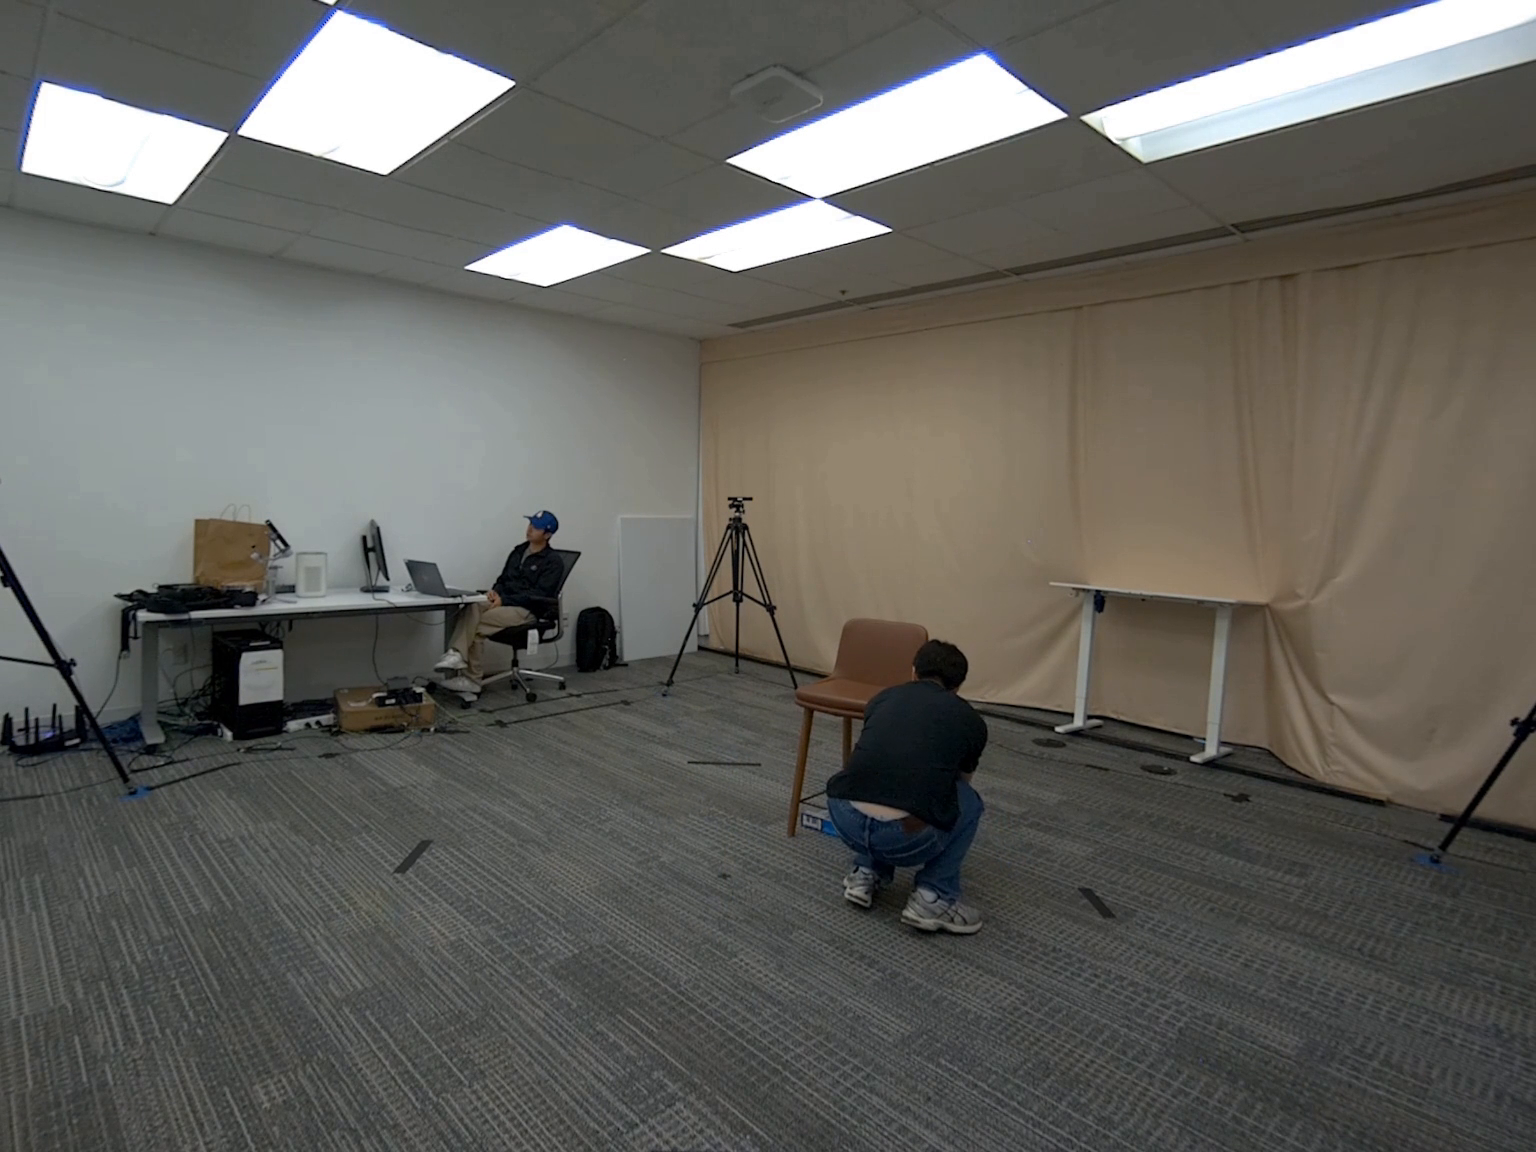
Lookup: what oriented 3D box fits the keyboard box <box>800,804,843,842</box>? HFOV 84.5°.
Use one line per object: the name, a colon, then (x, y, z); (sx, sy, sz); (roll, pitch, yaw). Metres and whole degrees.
keyboard box: (0.367, 1.057, 3.538); (0.448, 0.059, 0.172); (5, 5, 38)
